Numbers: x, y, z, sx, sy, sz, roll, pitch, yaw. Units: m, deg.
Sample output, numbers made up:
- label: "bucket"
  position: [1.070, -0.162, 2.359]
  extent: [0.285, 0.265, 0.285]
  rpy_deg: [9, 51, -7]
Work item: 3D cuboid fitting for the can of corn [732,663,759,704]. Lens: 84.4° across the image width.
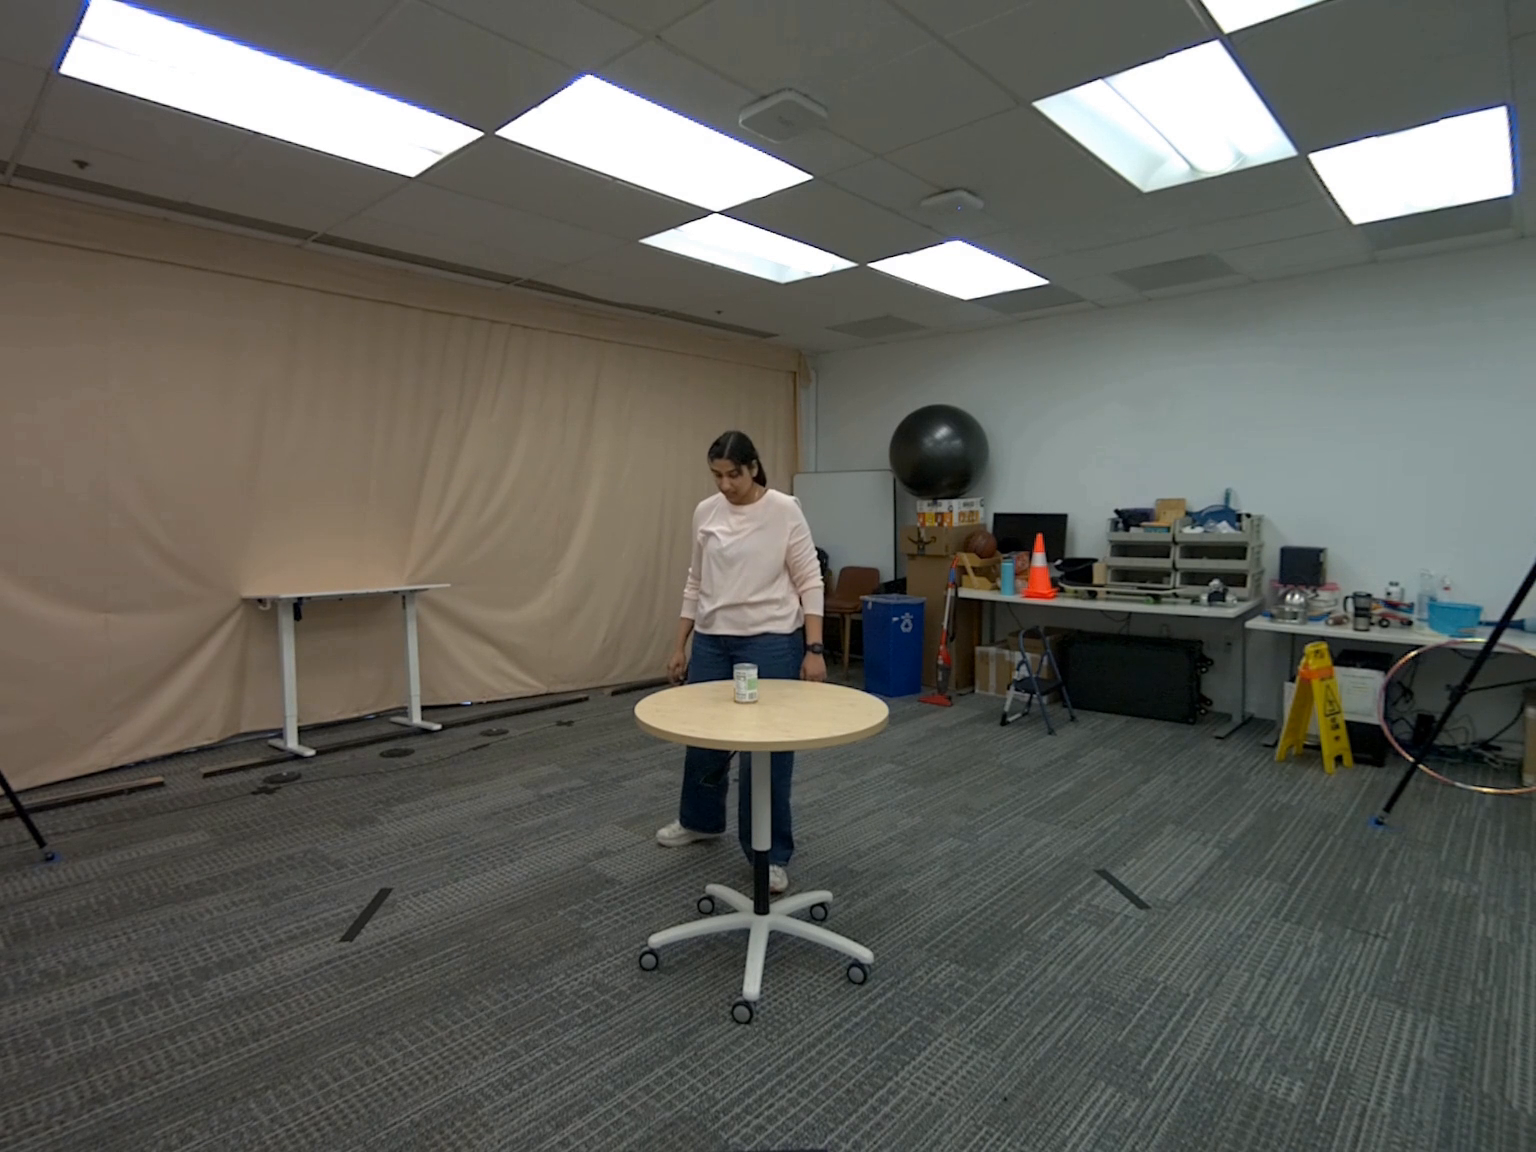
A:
- label: "can of corn"
  position: [-0.068, 0.335, 2.620]
  extent: [0.074, 0.111, 0.074]
  rpy_deg: [-1, 3, -2]
